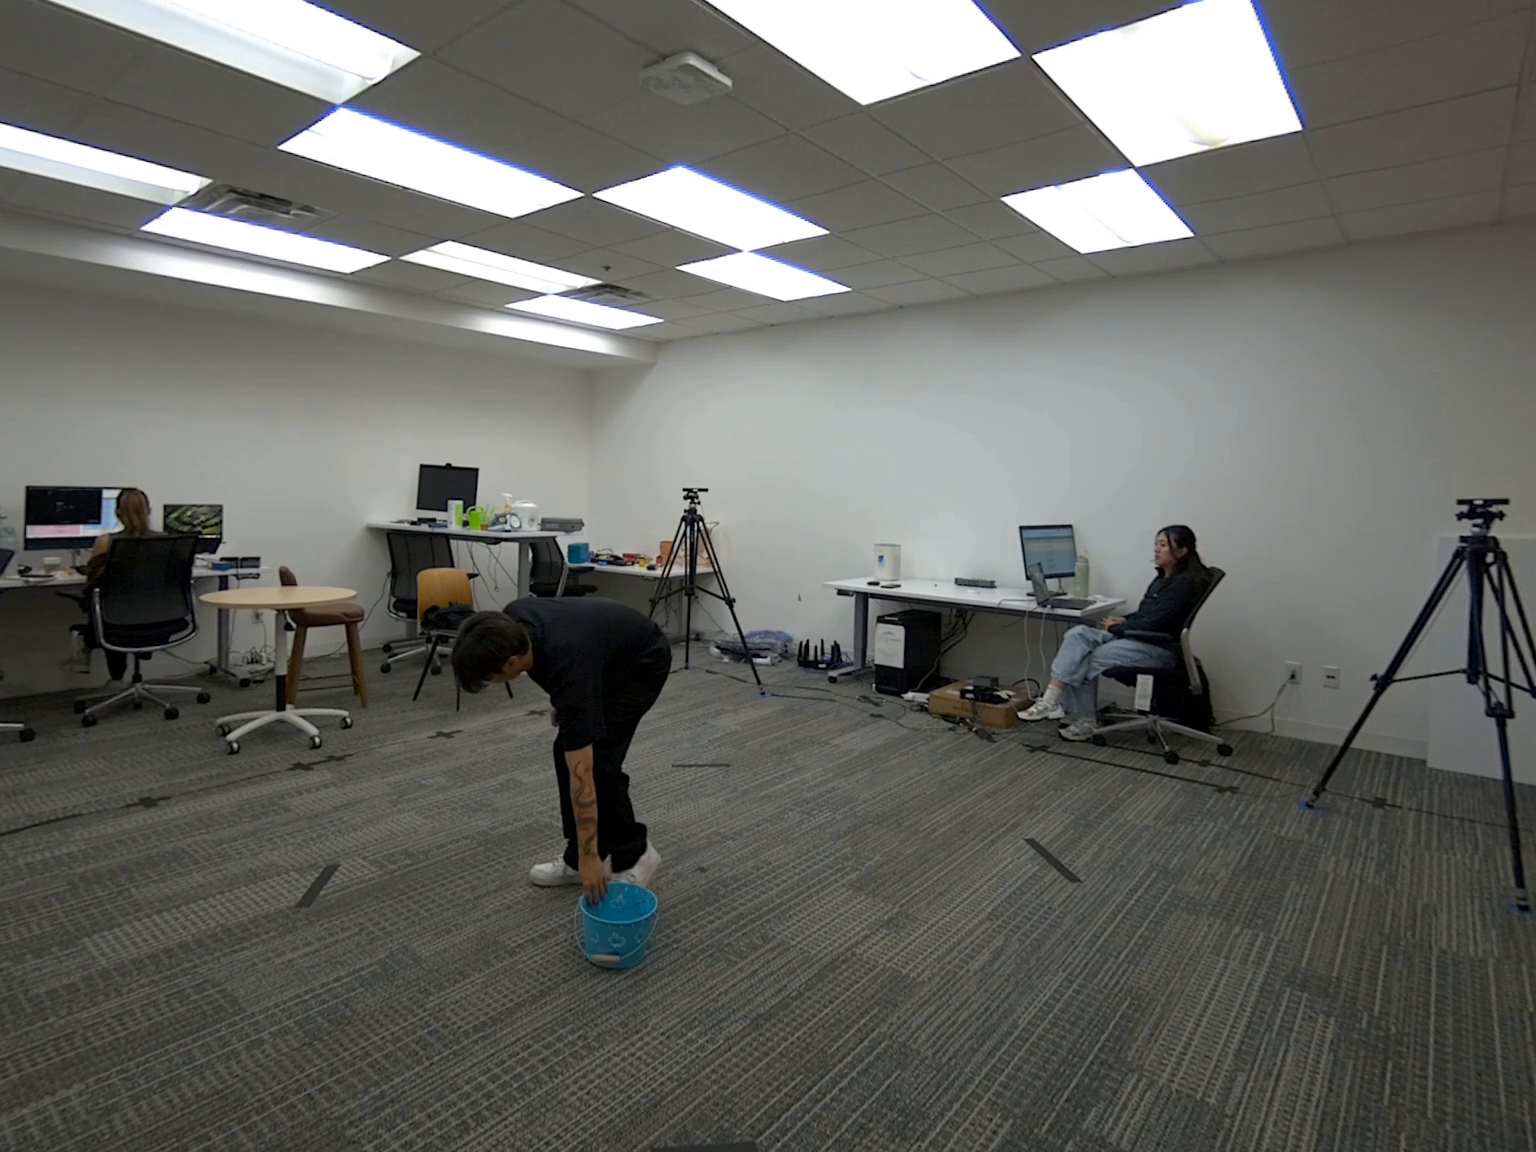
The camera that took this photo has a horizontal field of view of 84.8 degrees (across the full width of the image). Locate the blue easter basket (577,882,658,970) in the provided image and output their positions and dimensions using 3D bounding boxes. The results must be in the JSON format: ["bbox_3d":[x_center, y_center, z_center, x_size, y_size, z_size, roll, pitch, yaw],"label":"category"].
[{"bbox_3d":[-0.453,1.040,2.540,0.243,0.155,0.245,4,7,-2],"label":"blue easter basket"}]
